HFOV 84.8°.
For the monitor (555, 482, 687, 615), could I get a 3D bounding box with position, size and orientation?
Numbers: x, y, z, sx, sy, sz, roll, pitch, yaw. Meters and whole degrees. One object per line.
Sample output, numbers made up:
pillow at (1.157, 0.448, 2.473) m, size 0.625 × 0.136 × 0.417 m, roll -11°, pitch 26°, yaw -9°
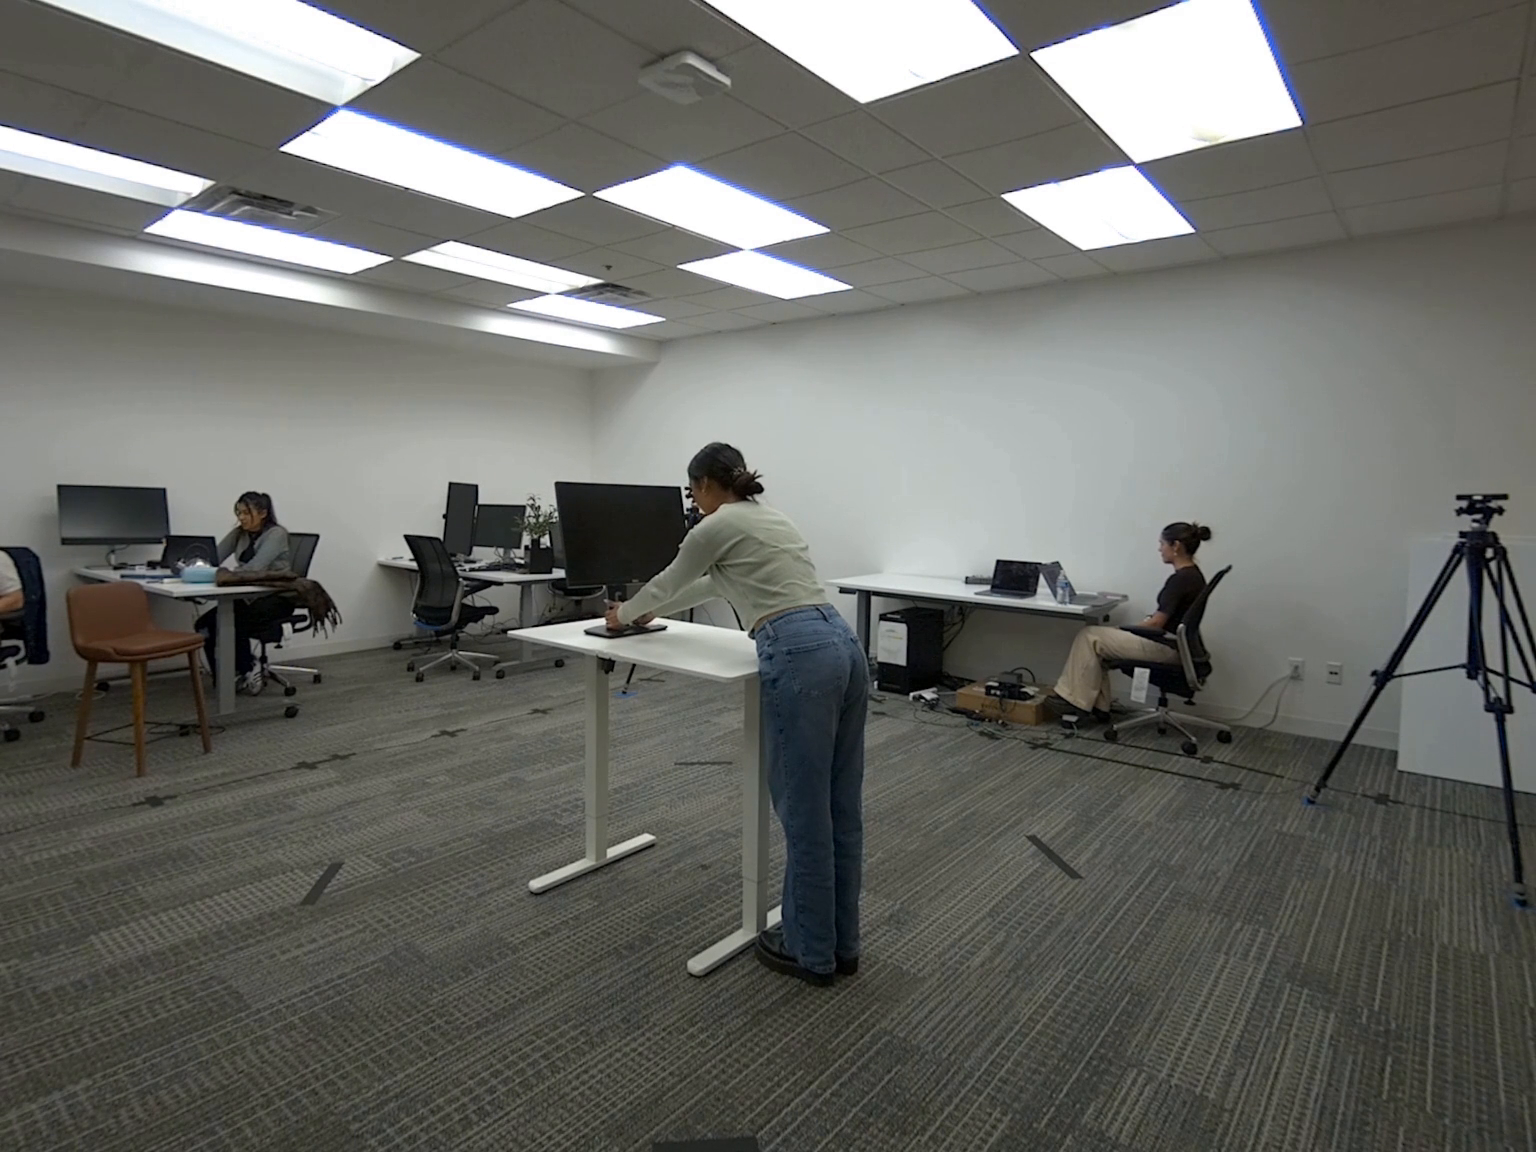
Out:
monitor at (-0.522, -0.062, 2.968) m, size 0.193 × 0.522 × 0.522 m, roll 1°, pitch 2°, yaw 43°
